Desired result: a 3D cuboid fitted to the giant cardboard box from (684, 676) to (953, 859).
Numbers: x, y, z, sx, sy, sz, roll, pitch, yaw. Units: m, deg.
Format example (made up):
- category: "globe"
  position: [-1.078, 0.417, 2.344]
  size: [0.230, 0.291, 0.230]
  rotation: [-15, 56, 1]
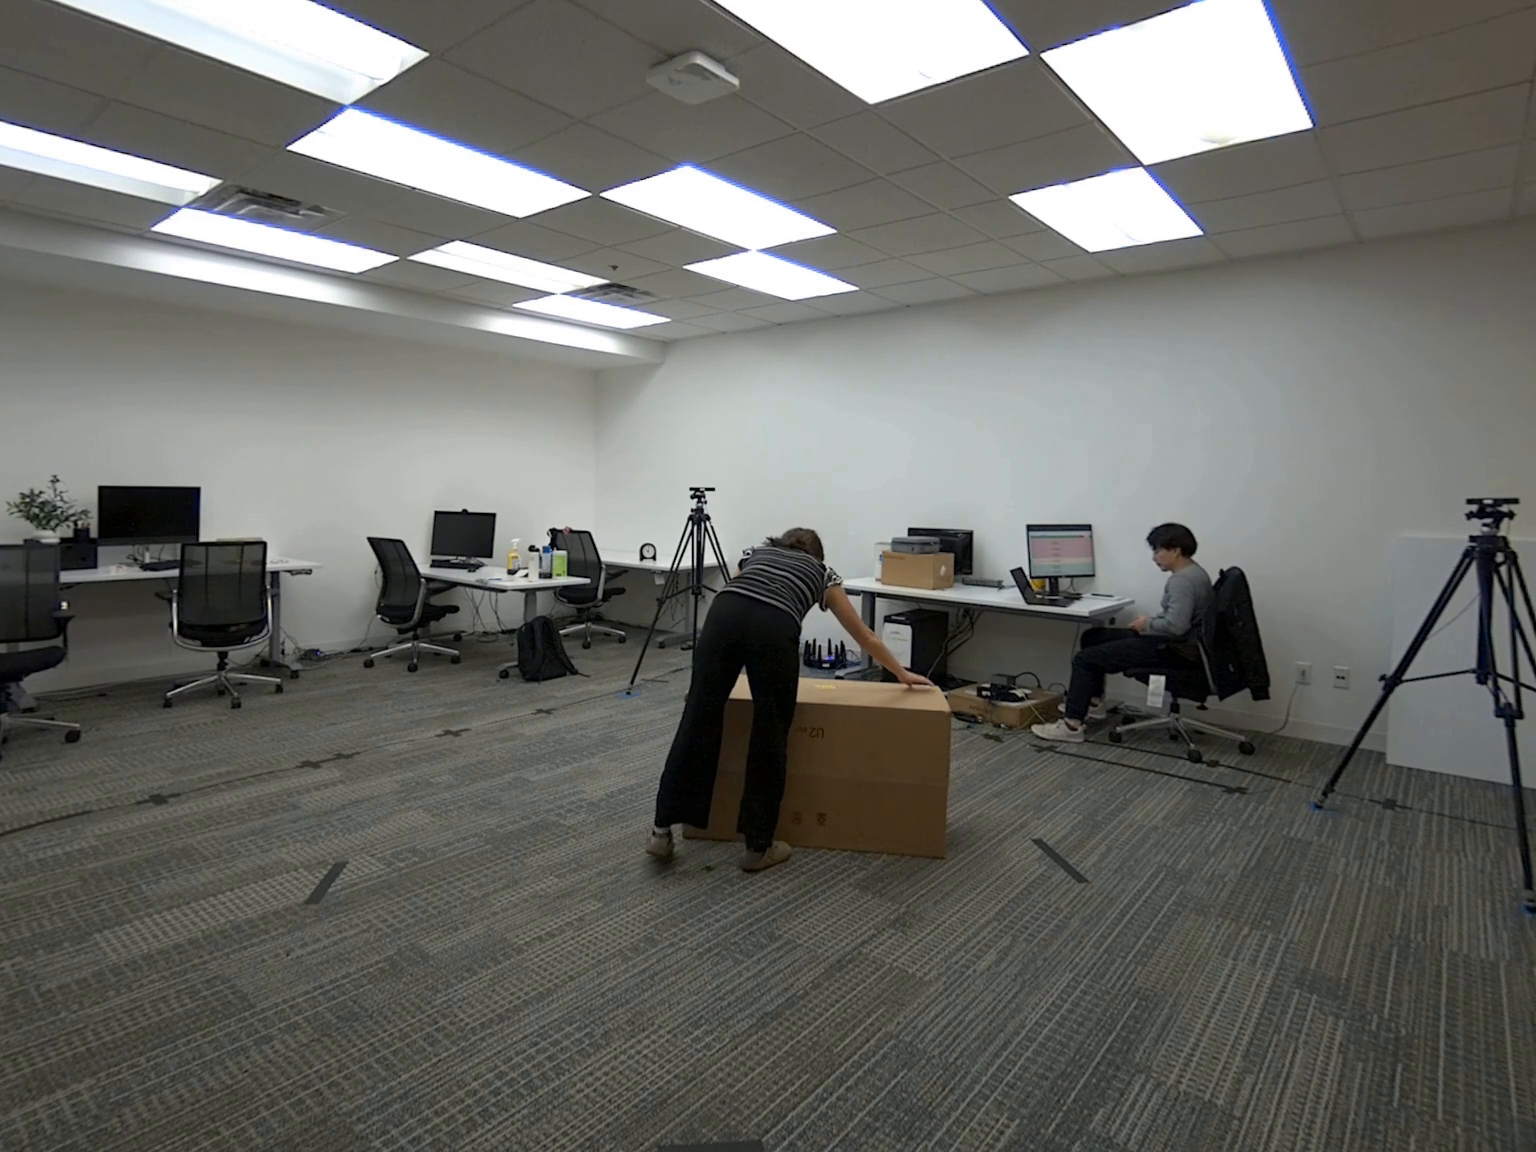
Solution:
- category: "giant cardboard box"
  position: [0.192, 0.742, 3.503]
  size: [1.035, 0.575, 0.424]
  rotation: [2, 4, 7]
